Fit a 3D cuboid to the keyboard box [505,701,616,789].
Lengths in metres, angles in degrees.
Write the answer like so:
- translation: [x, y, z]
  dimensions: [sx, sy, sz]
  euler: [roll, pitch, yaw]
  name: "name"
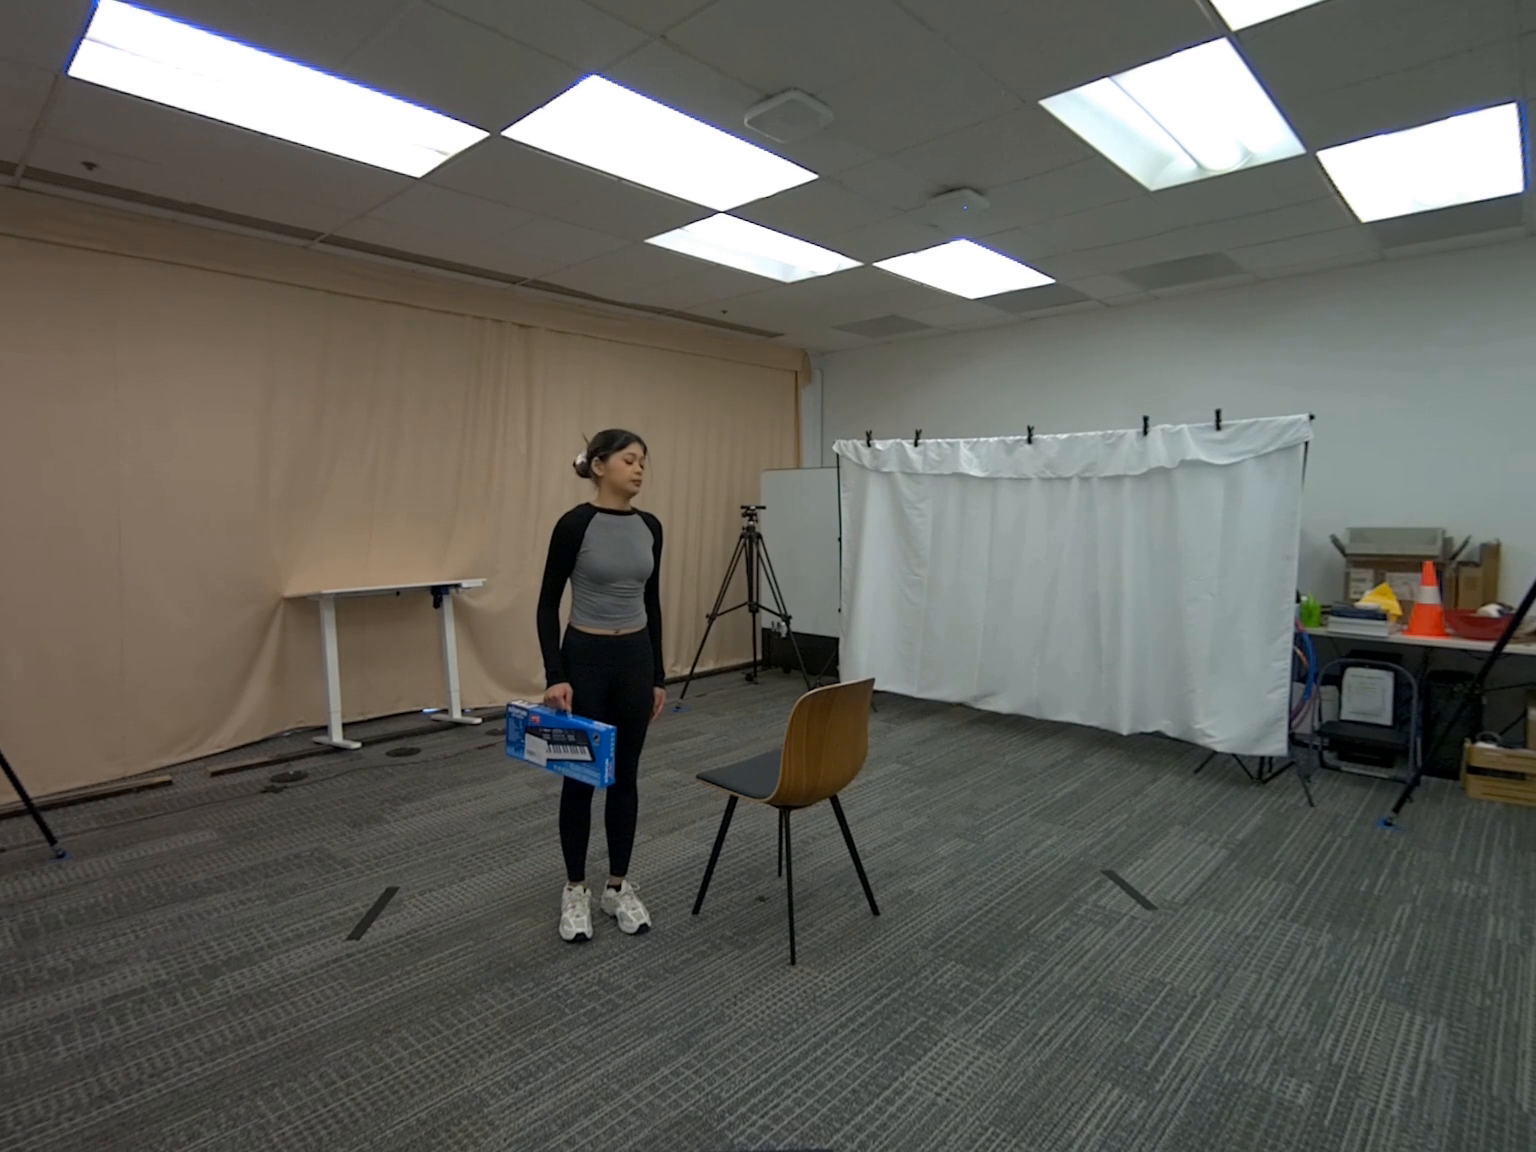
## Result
- translation: [-0.642, 0.514, 2.607]
  dimensions: [0.451, 0.175, 0.057]
  euler: [6, 7, 36]
  name: "keyboard box"
